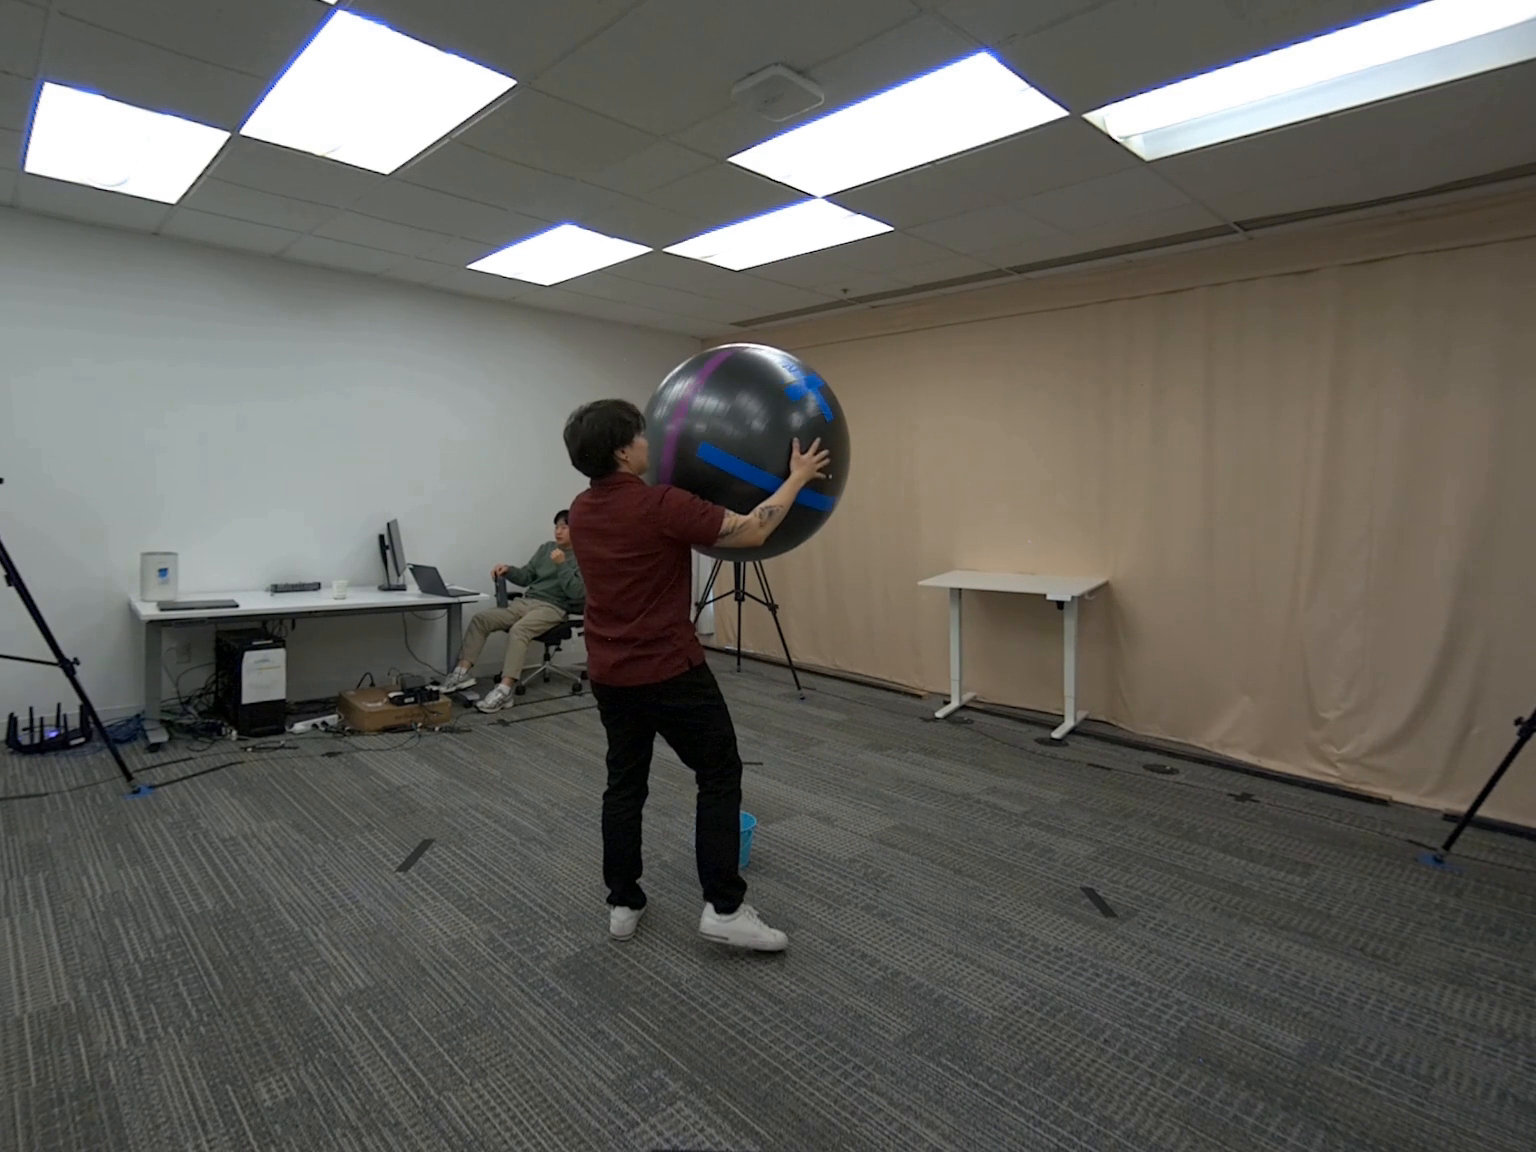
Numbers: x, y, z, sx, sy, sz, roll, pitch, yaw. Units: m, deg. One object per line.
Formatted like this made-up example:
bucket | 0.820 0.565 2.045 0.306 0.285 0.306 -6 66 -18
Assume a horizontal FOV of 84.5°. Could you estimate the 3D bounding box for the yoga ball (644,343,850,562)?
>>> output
yoga ball | -0.088 -0.427 2.982 0.757 0.756 0.761 1 4 -1
